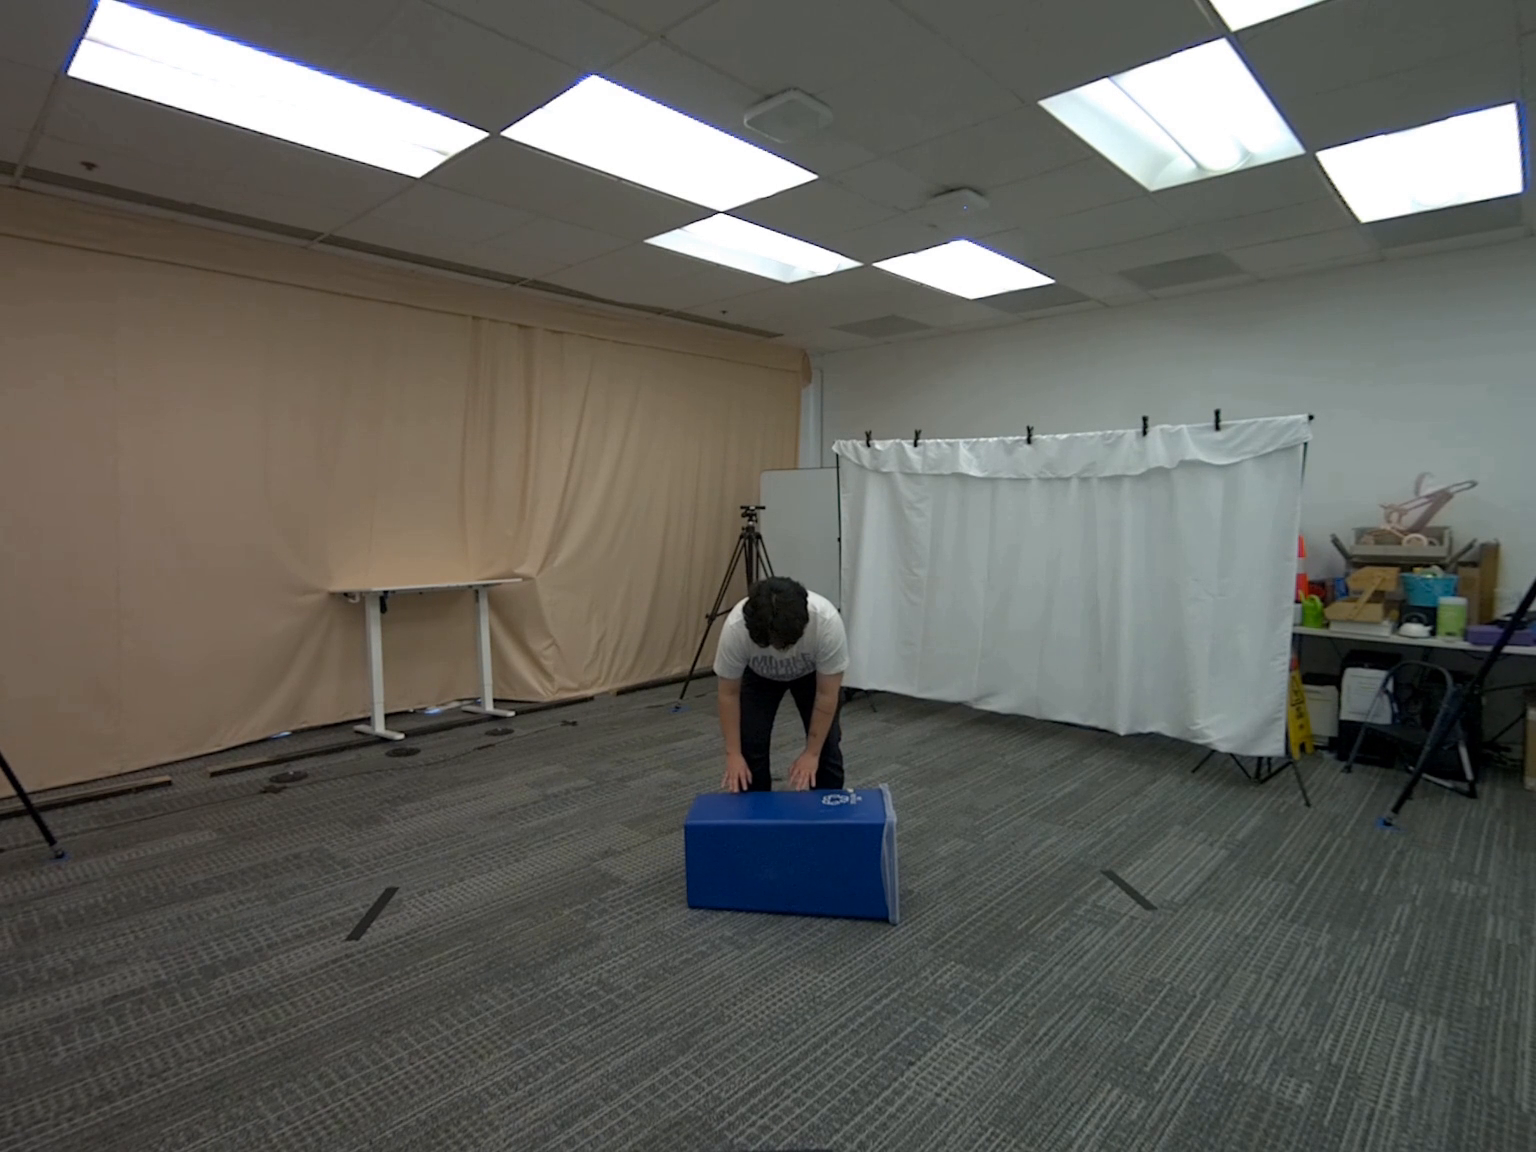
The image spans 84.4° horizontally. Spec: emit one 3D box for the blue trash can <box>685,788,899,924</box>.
[{"bbox_3d":[0.088,0.975,2.992,0.718,0.377,0.372,-3,4,6],"label":"blue trash can"}]
